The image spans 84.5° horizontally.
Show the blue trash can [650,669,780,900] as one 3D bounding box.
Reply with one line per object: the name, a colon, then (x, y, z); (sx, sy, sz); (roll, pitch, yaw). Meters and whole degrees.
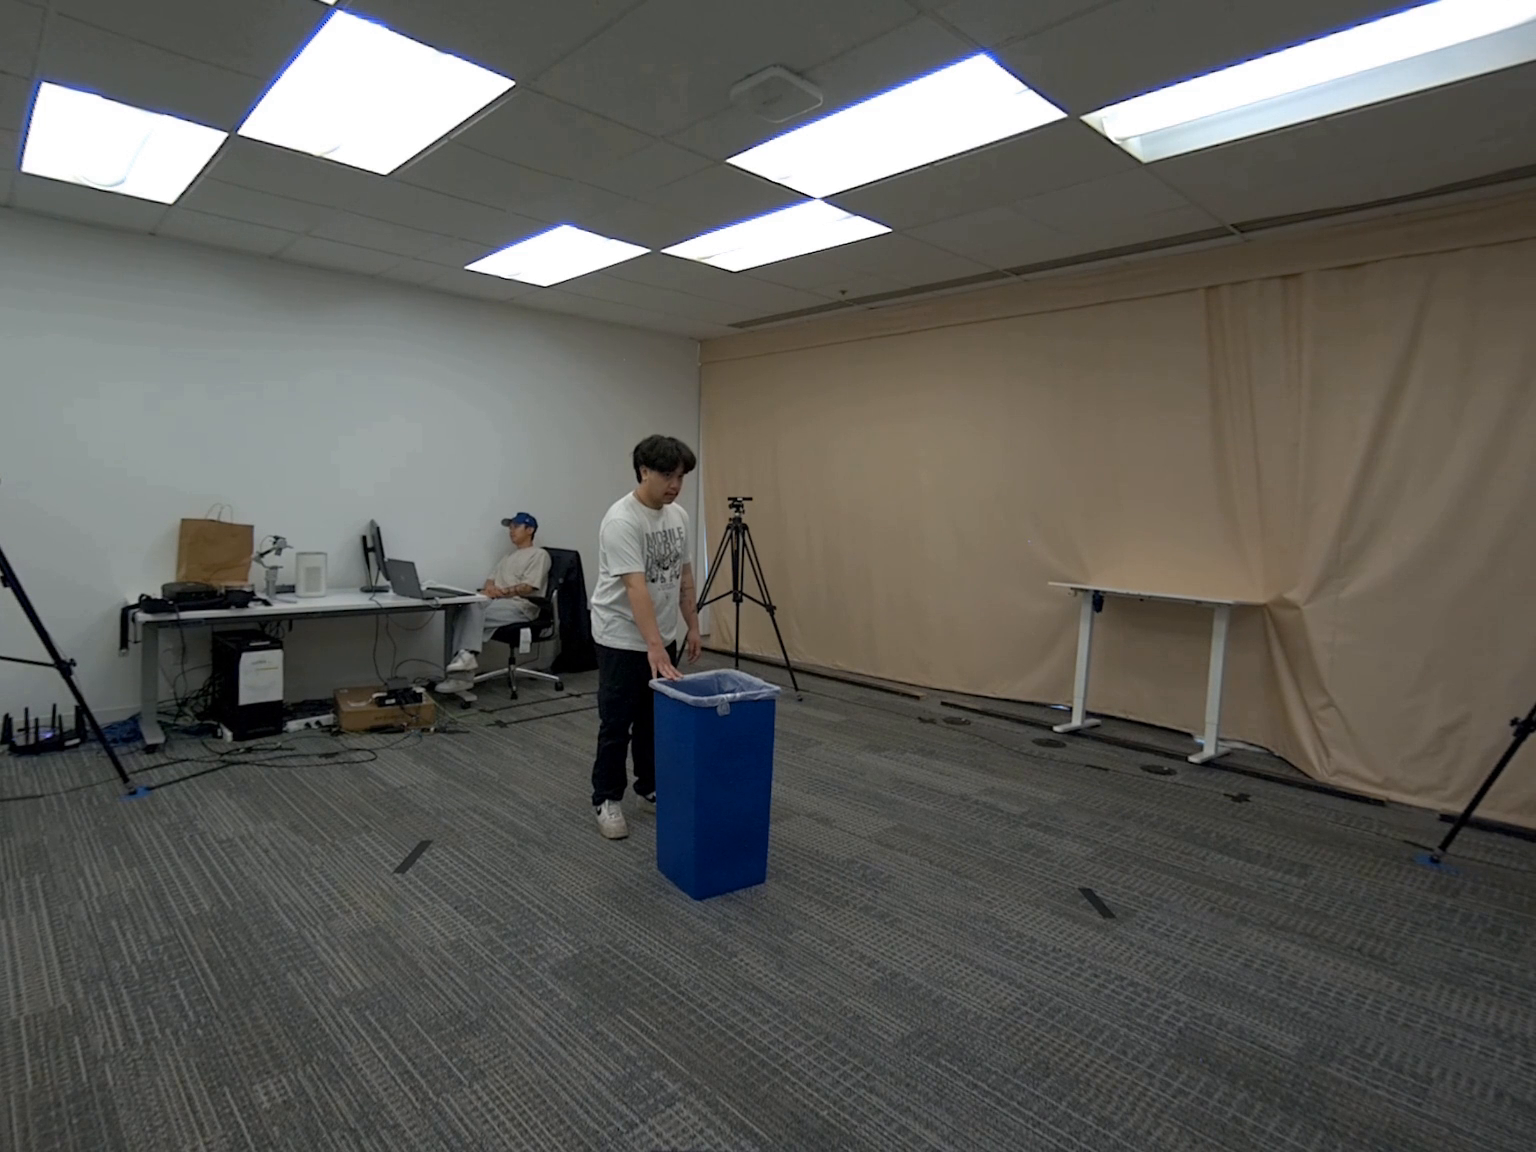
blue trash can: (-0.215, 0.749, 3.095); (0.370, 0.712, 0.383); (-1, 4, -34)
